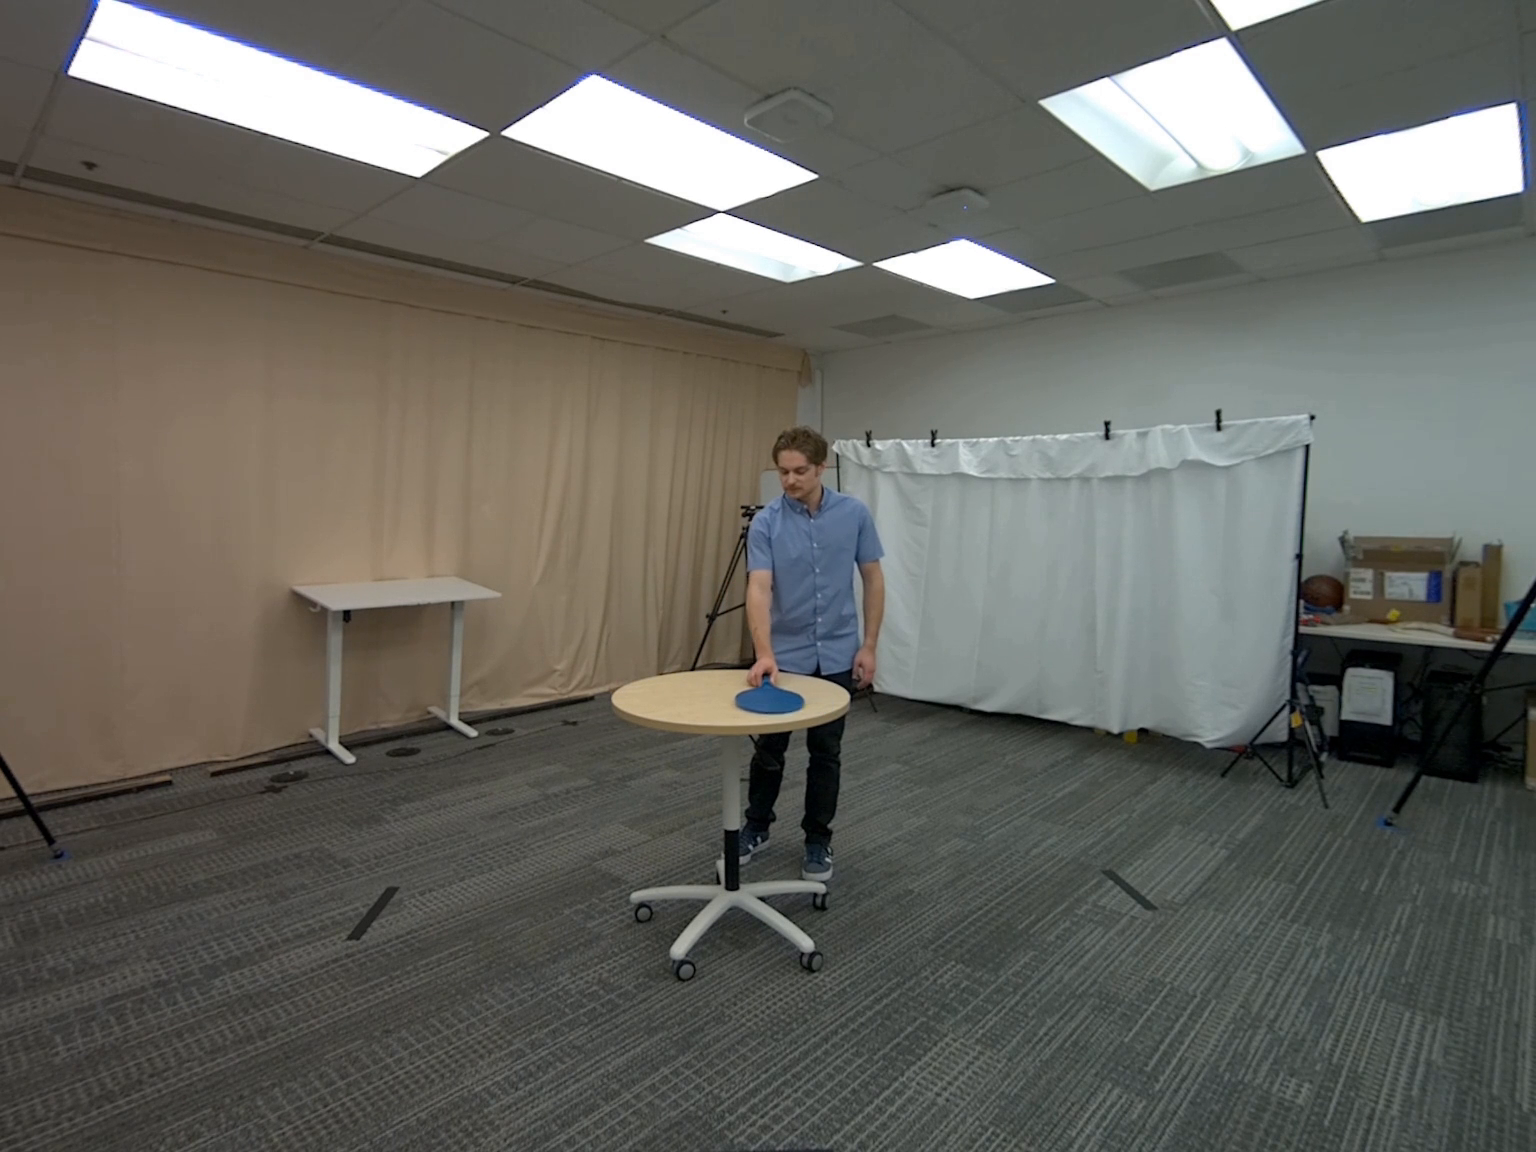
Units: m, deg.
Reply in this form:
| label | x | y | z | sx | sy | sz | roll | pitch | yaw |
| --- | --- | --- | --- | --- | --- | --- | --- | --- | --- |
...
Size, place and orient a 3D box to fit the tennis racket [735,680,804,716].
| label | x | y | z | sx | sy | sz | roll | pitch | yaw |
| --- | --- | --- | --- | --- | --- | --- | --- | --- | --- |
| tennis racket | 0.011 | 0.377 | 2.672 | 0.214 | 0.031 | 0.434 | 0 | 7 | -1 |
